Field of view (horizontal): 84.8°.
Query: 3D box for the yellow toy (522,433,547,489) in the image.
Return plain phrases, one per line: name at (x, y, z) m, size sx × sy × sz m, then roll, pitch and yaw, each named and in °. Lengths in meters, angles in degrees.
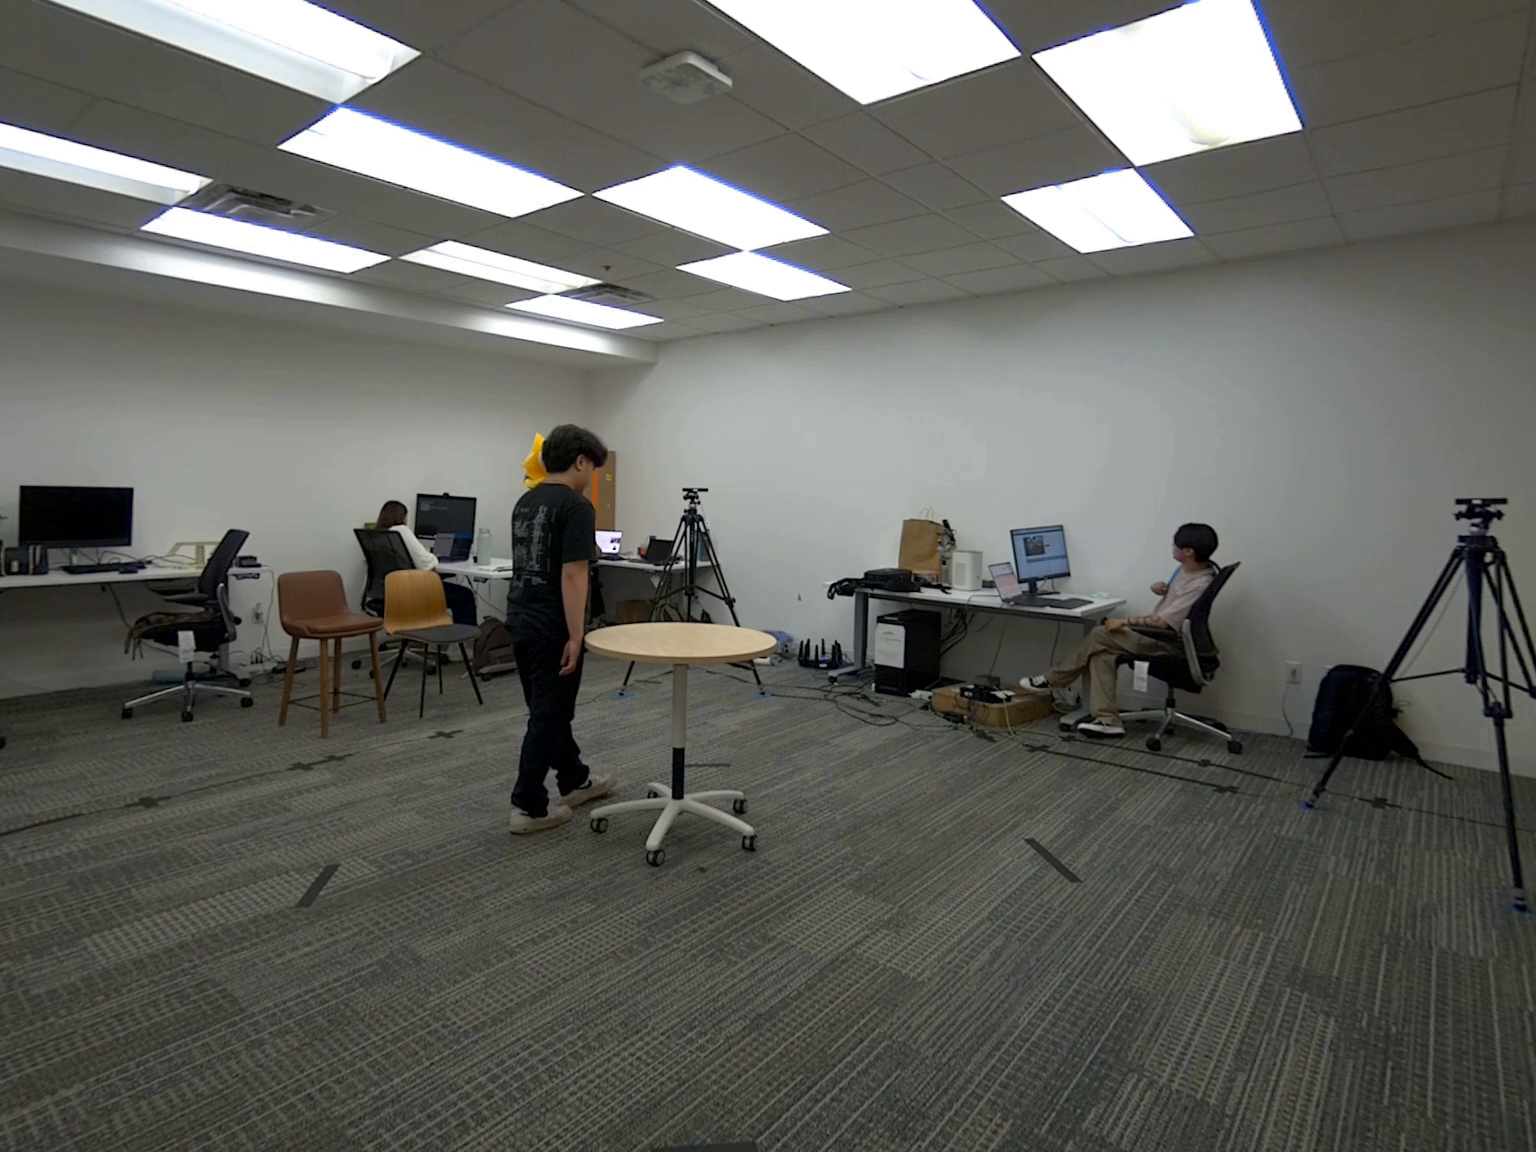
yellow toy at (-0.976, -0.498, 3.671) m, size 0.189 × 0.230 × 0.209 m, roll 11°, pitch 5°, yaw -16°
